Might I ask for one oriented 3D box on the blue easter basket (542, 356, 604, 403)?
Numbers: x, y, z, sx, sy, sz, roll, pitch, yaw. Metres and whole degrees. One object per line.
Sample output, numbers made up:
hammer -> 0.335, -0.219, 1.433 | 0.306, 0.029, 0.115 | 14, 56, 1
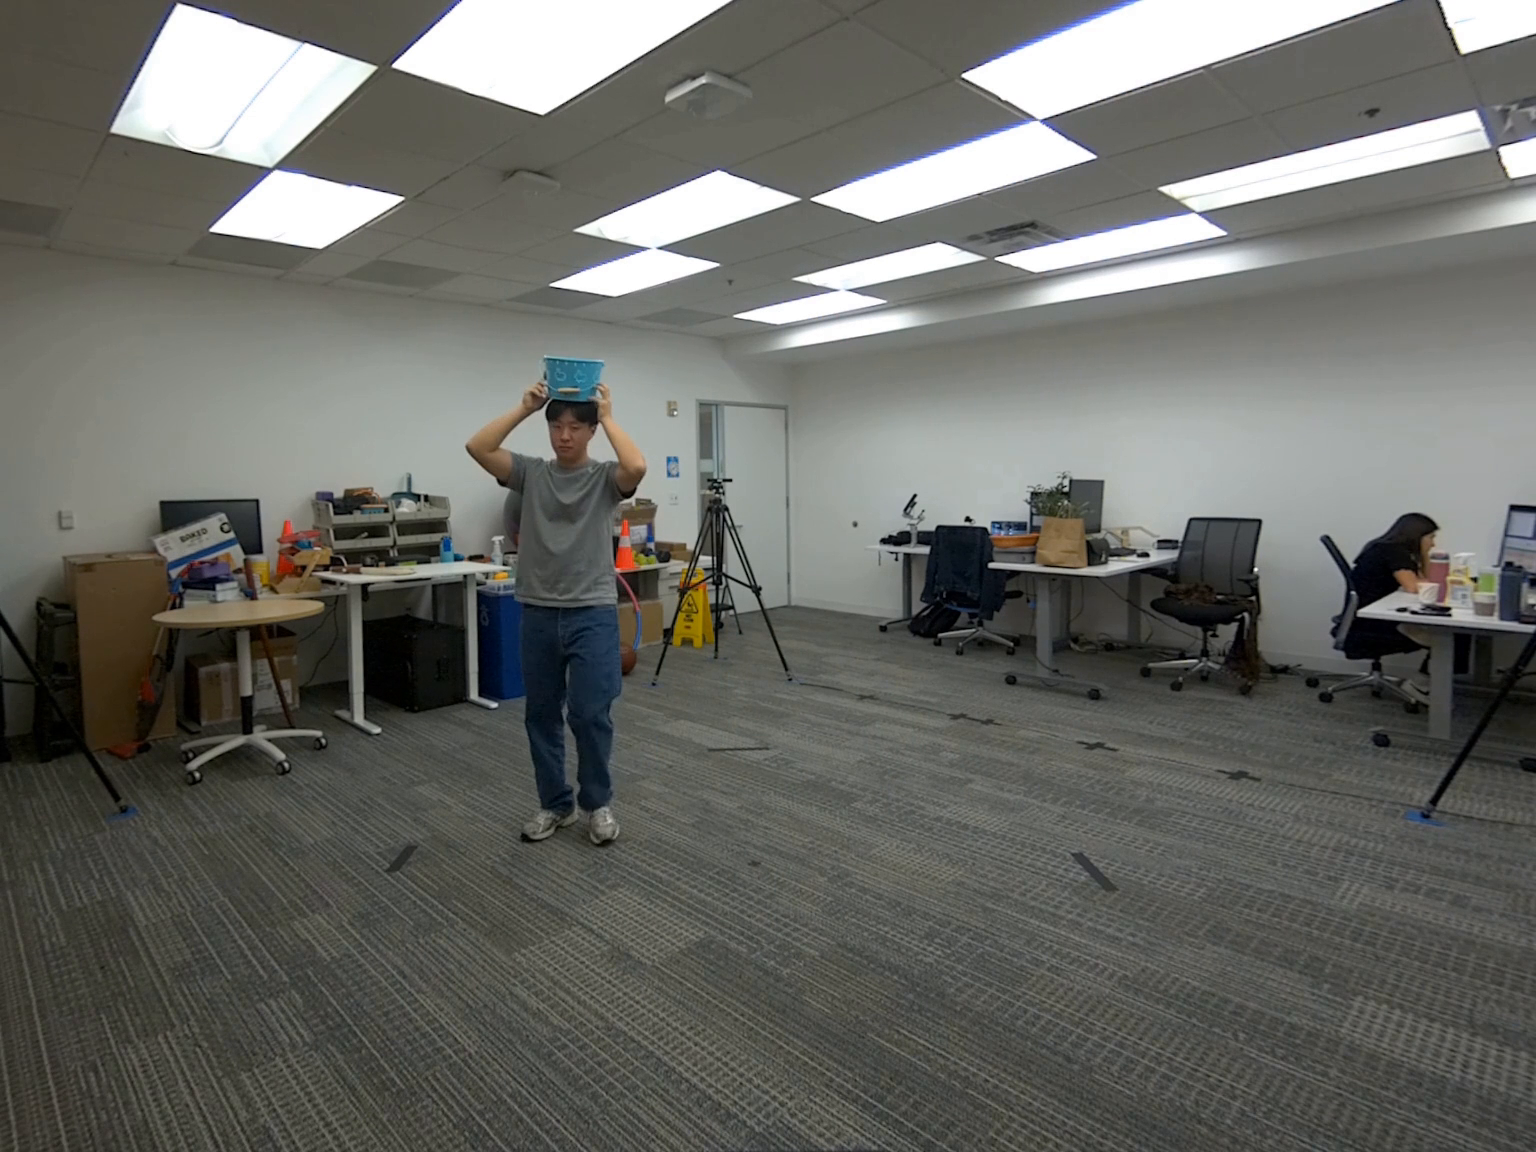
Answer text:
blue easter basket -> -0.751, -0.749, 3.264 | 0.243, 0.154, 0.247 | 3, 15, -2
